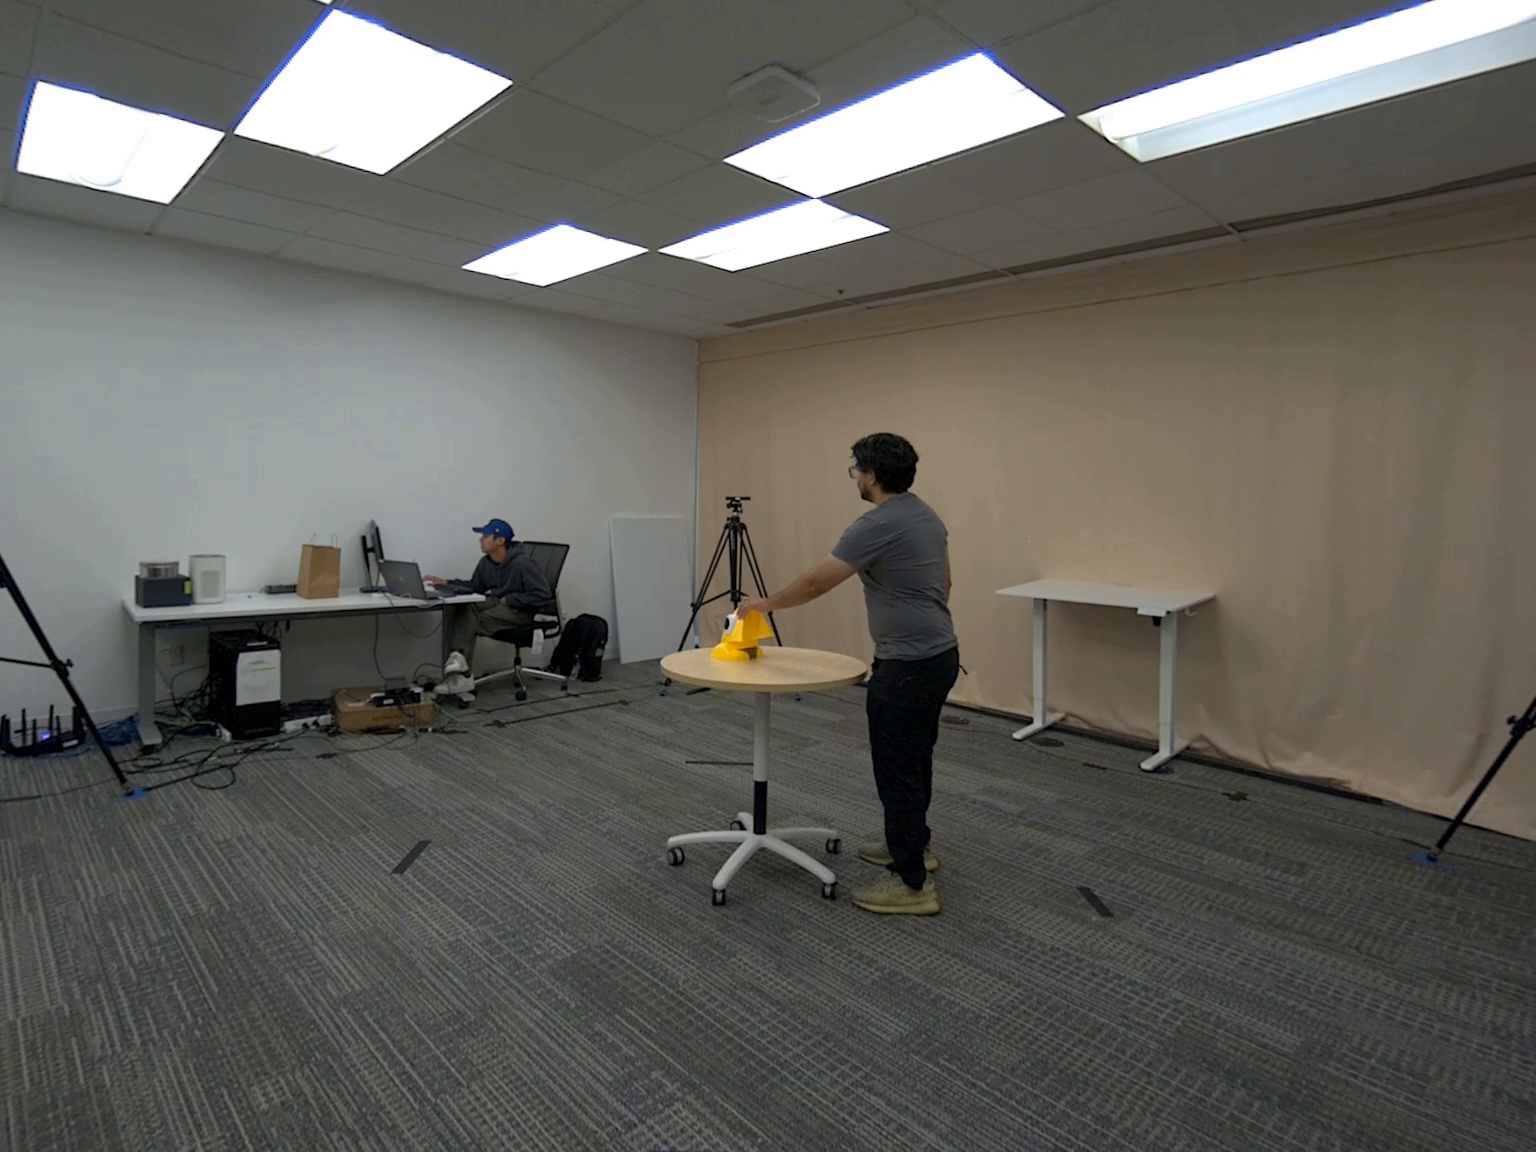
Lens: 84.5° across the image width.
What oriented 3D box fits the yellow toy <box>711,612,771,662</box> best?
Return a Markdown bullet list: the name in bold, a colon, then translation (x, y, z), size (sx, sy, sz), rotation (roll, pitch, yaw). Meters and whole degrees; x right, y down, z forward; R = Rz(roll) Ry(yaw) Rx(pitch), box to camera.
- **yellow toy**: translation (-0.110, 0.196, 3.256), size (0.198, 0.230, 0.200), rotation (4, 4, 39)
